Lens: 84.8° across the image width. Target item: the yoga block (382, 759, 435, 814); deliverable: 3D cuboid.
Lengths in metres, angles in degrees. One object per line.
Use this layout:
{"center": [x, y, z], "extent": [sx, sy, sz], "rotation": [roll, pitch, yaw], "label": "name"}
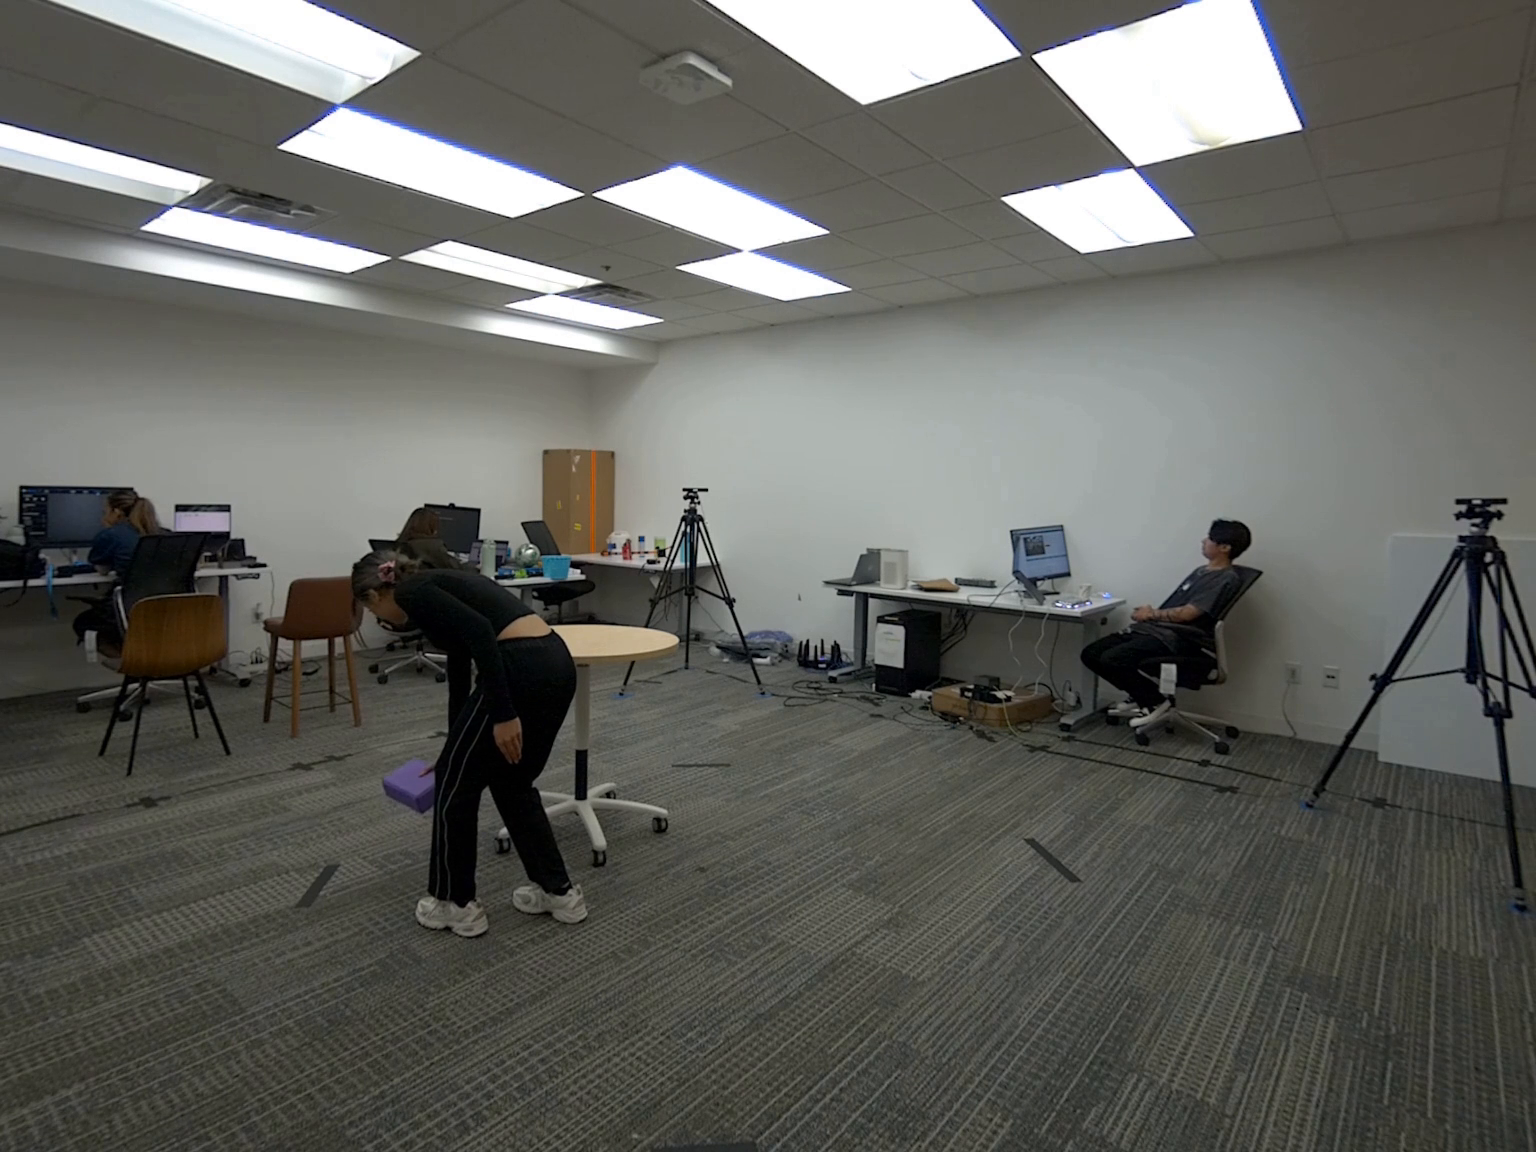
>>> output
{"center": [-1.254, 0.735, 2.985], "extent": [0.236, 0.075, 0.147], "rotation": [3, 22, 31], "label": "yoga block"}
